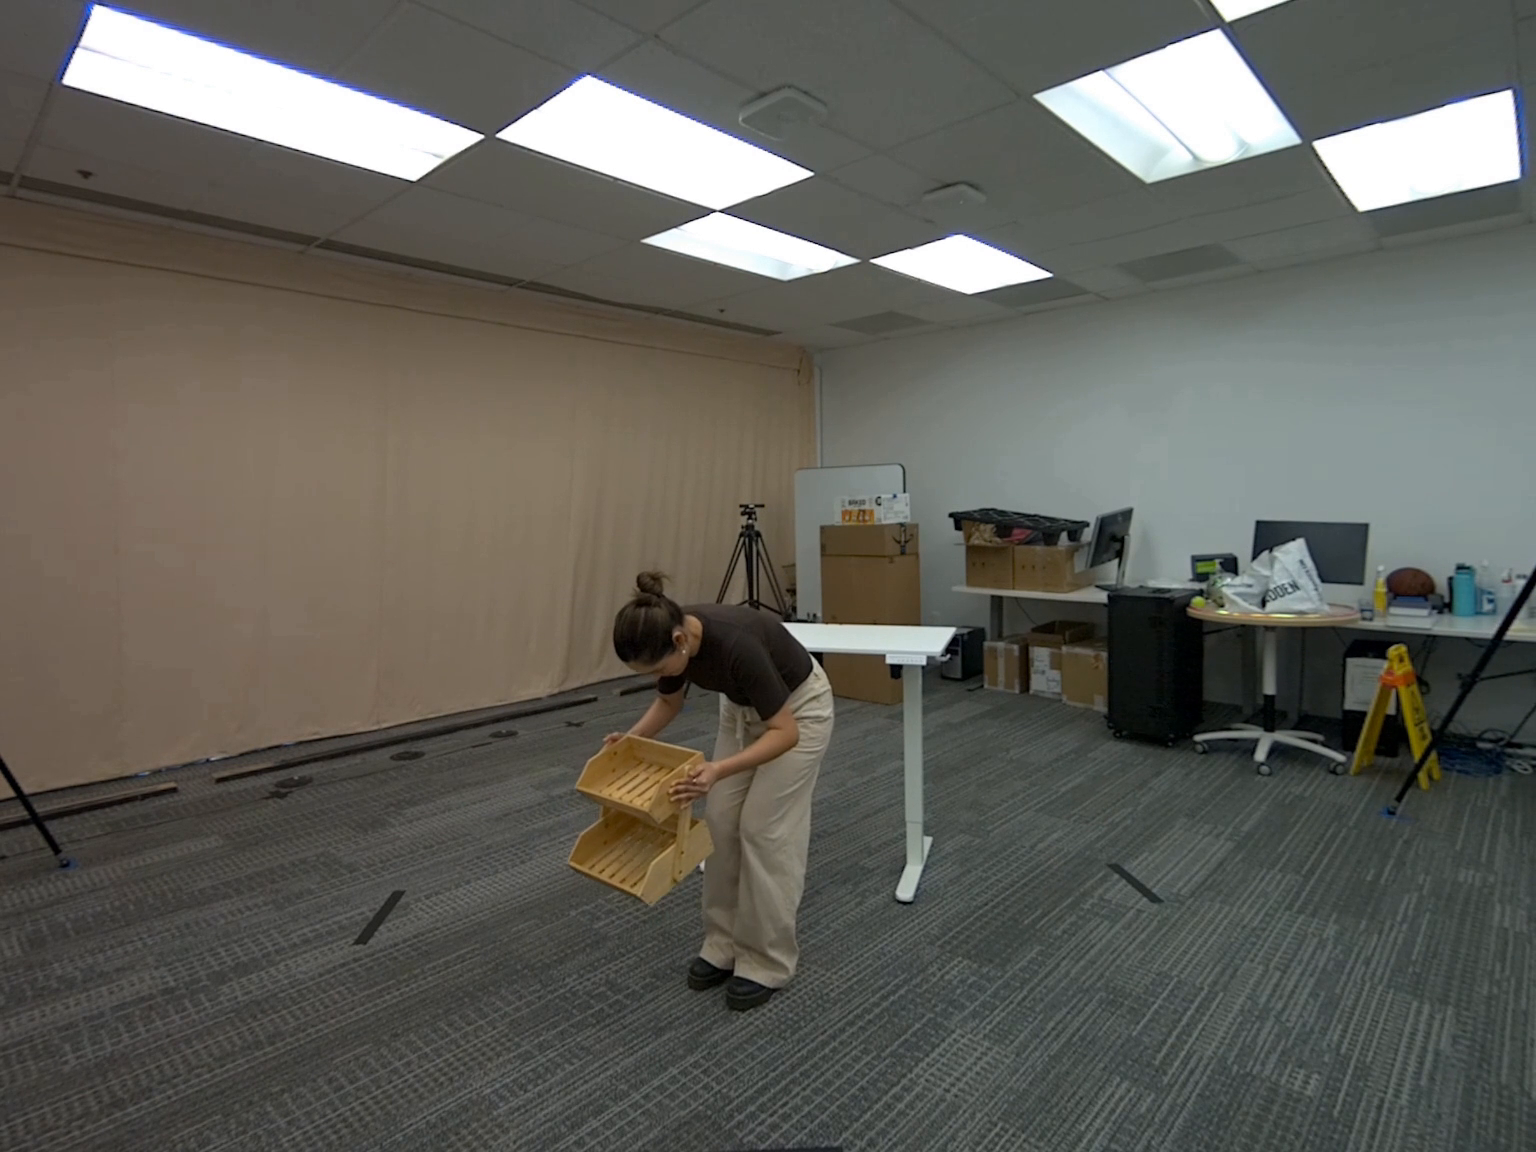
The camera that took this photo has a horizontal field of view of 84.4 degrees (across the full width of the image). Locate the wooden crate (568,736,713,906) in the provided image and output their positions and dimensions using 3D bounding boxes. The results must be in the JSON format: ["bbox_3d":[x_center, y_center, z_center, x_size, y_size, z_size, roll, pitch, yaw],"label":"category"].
[{"bbox_3d":[-0.338,0.616,2.164,0.335,0.270,0.296,1,20,44],"label":"wooden crate"}]
